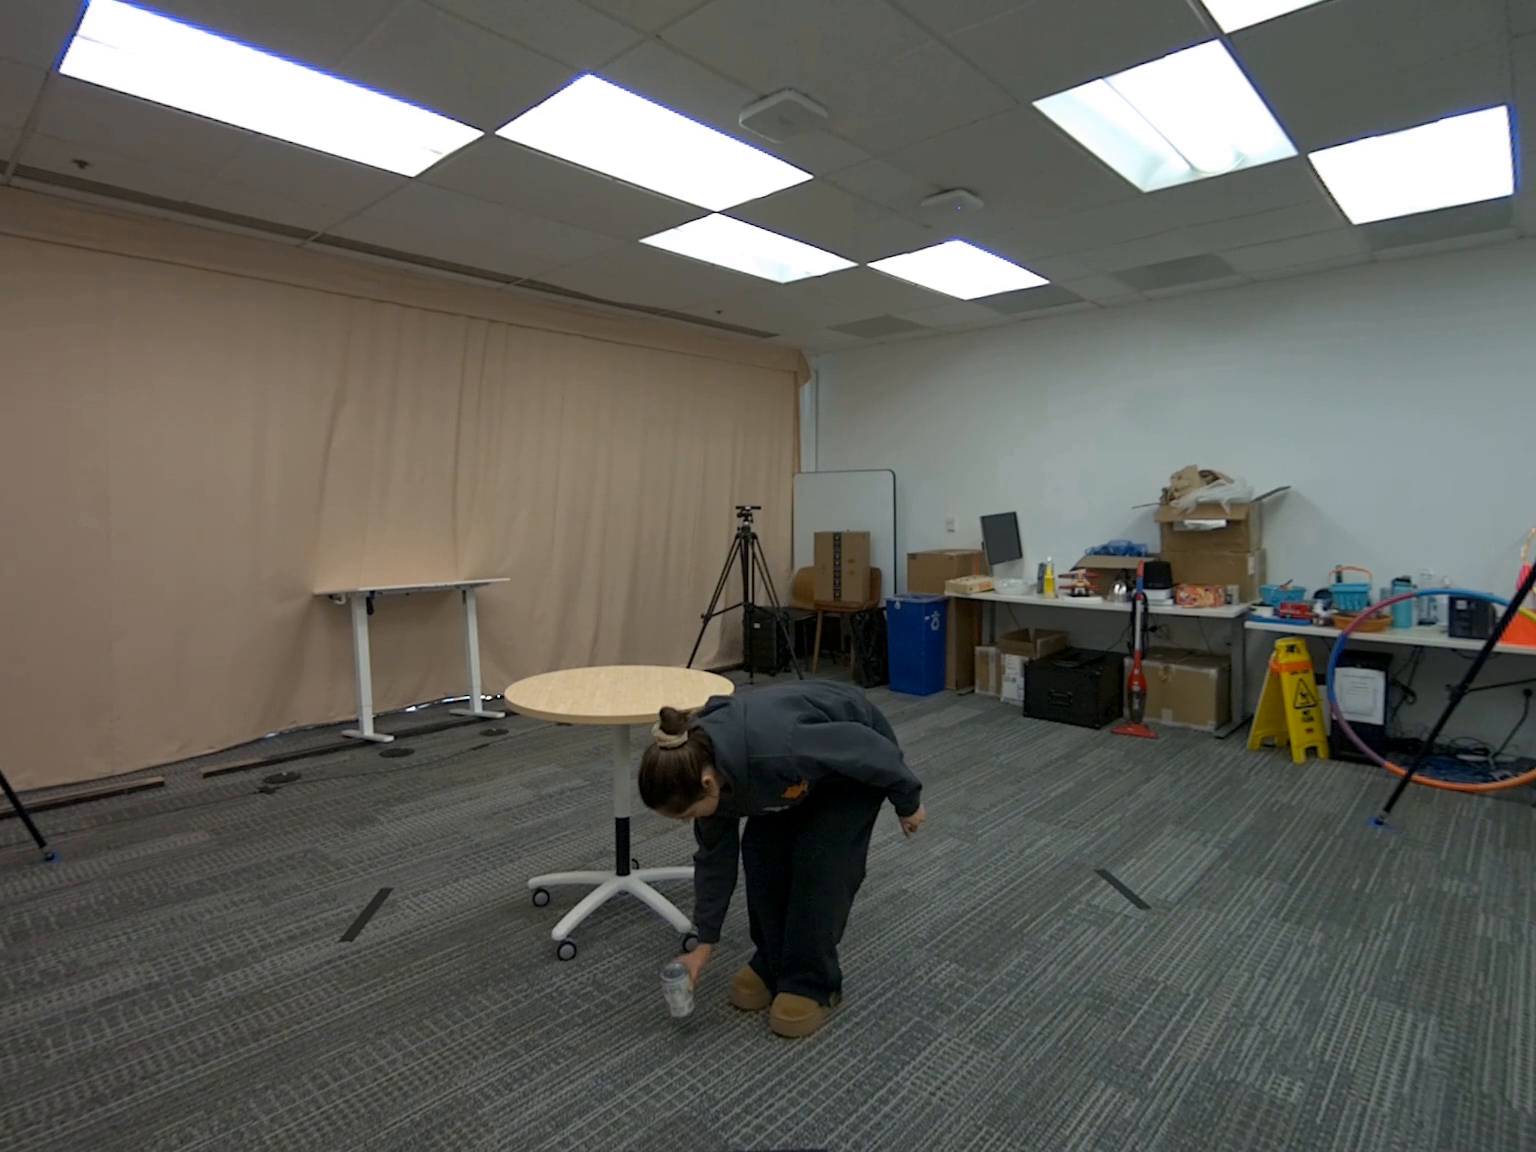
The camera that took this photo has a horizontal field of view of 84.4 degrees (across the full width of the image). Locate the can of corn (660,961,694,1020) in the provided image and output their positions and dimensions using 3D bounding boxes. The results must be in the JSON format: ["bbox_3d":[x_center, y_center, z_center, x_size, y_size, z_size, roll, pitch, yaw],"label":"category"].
[{"bbox_3d":[-0.233,1.092,2.244,0.074,0.110,0.074,-7,8,-1],"label":"can of corn"}]
